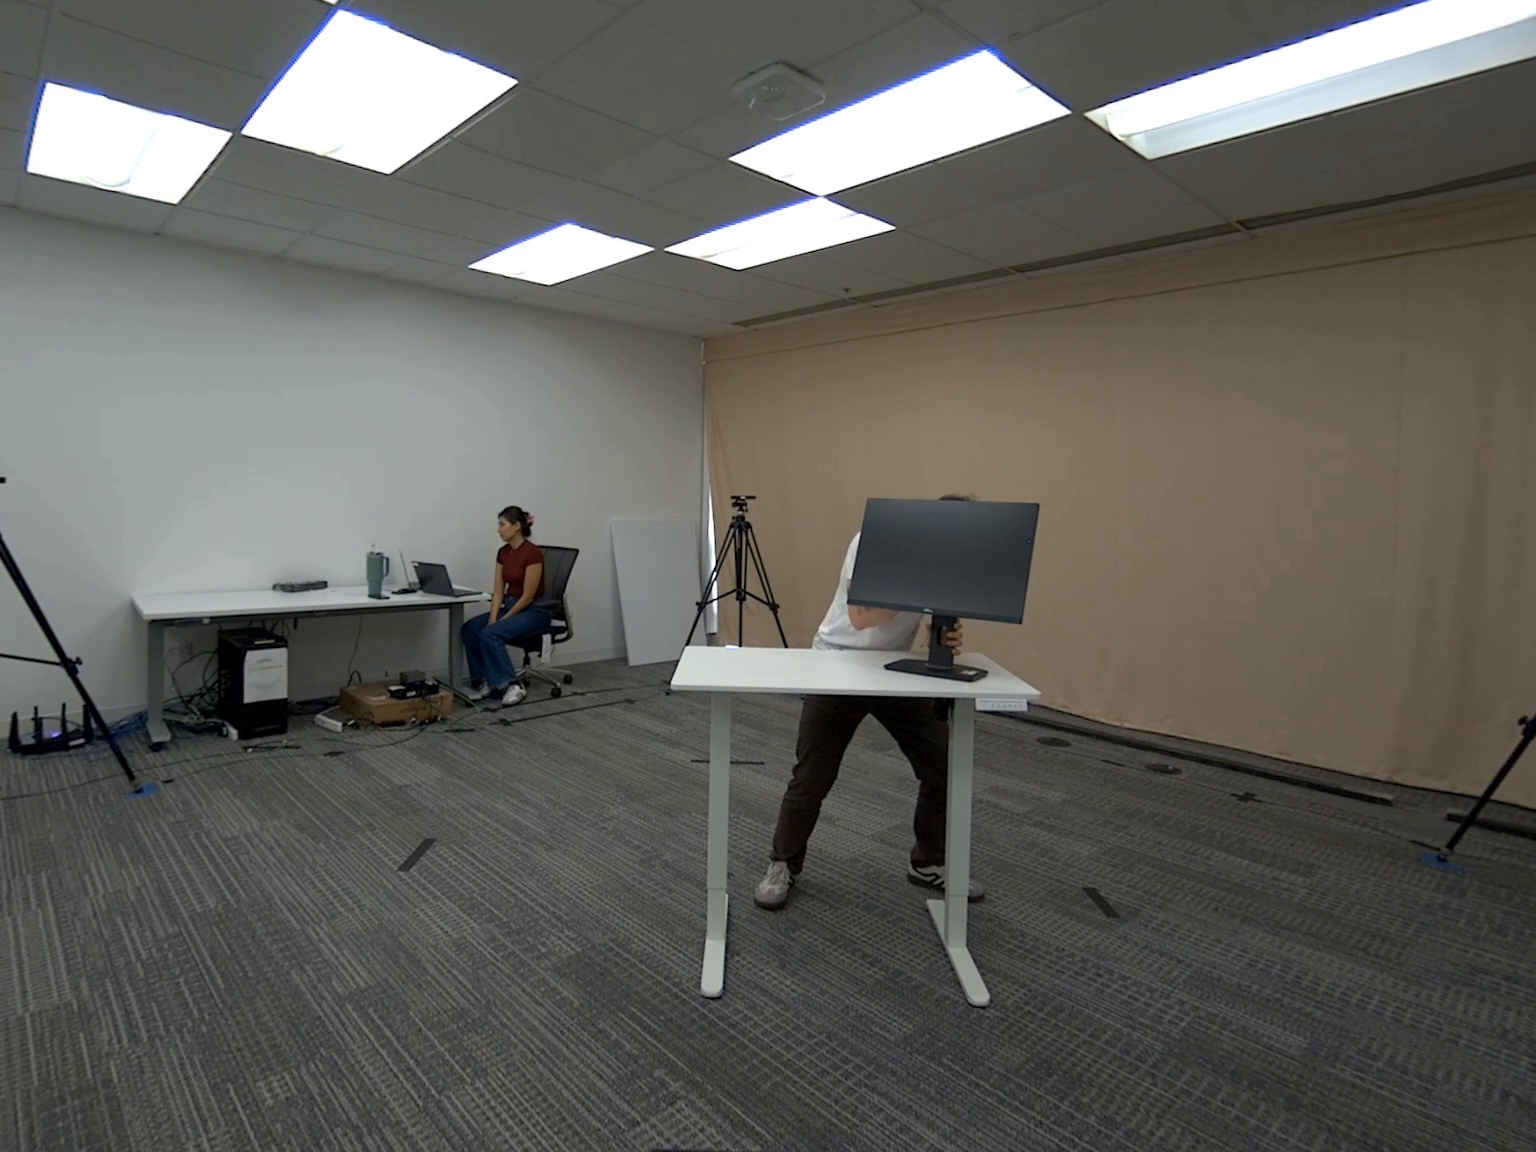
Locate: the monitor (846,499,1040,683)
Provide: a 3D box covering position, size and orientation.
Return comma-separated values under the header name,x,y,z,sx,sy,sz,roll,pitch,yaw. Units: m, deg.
name,x,y,z,sx,sy,sz,roll,pitch,yaw
monitor,0.528,0.038,2.523,0.551,0.523,0.183,5,0,31
